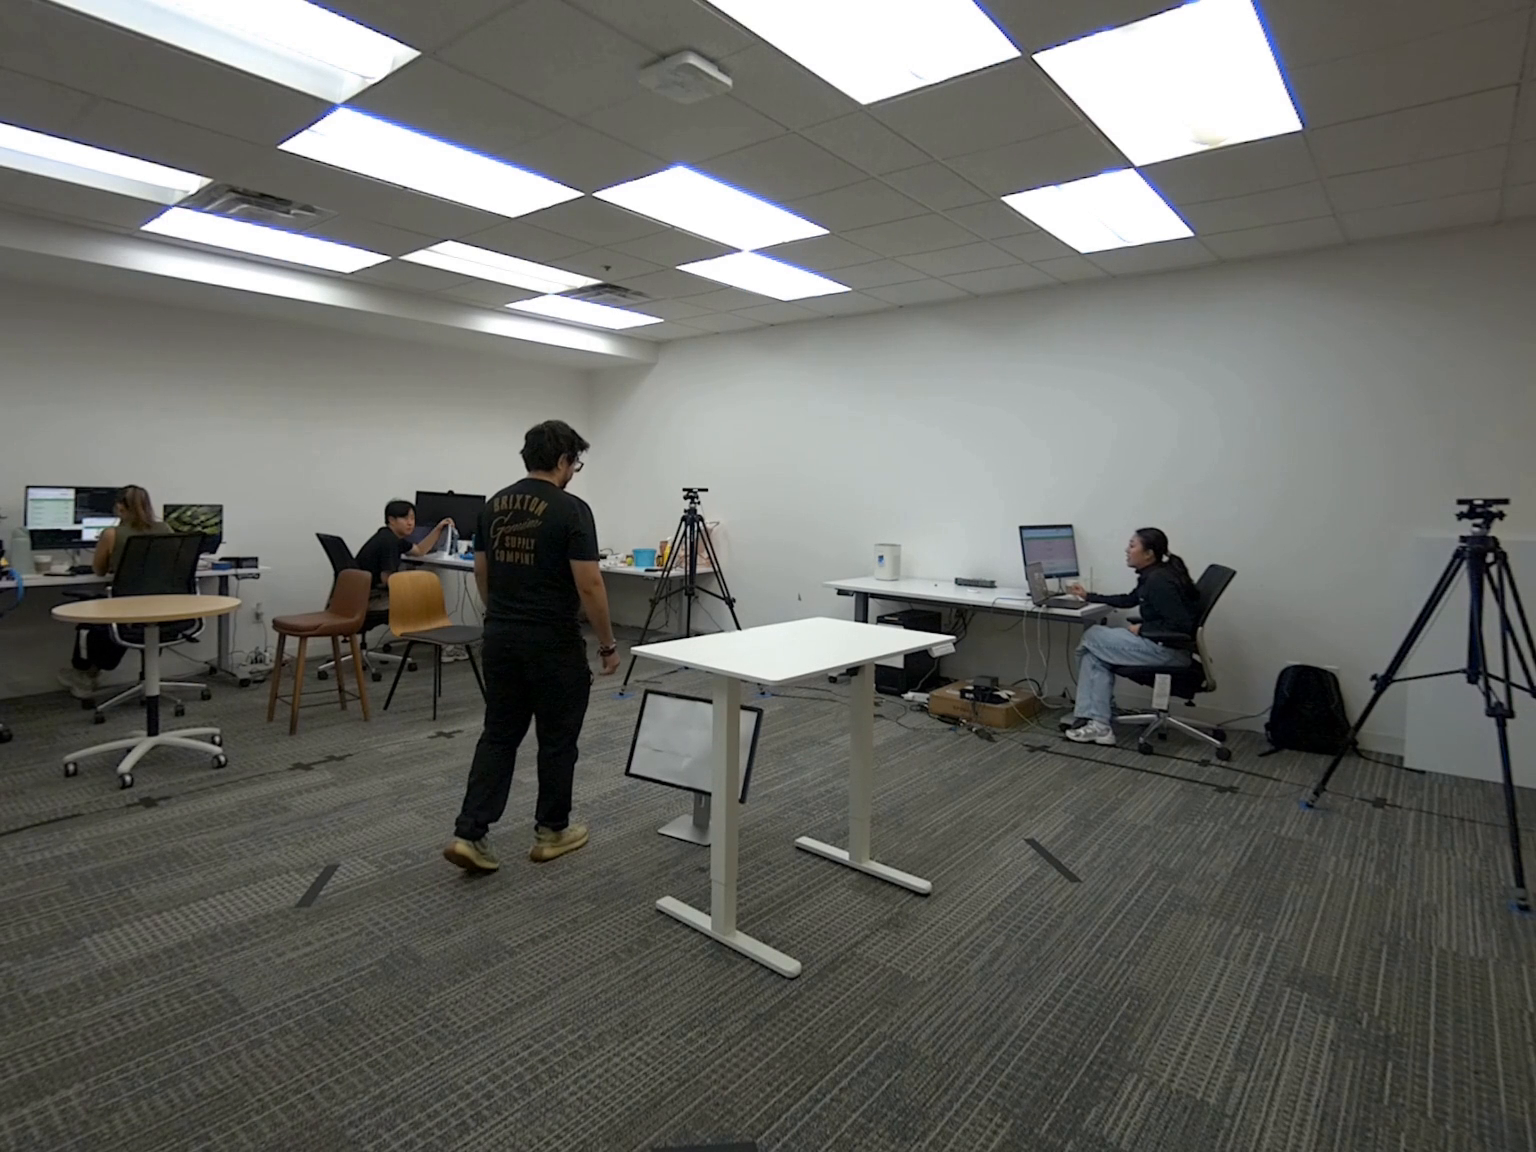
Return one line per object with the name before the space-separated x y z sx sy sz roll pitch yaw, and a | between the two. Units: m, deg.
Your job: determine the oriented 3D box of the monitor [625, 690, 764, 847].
monitor | -0.288 0.770 3.466 0.582 0.557 0.203 4 -6 29
